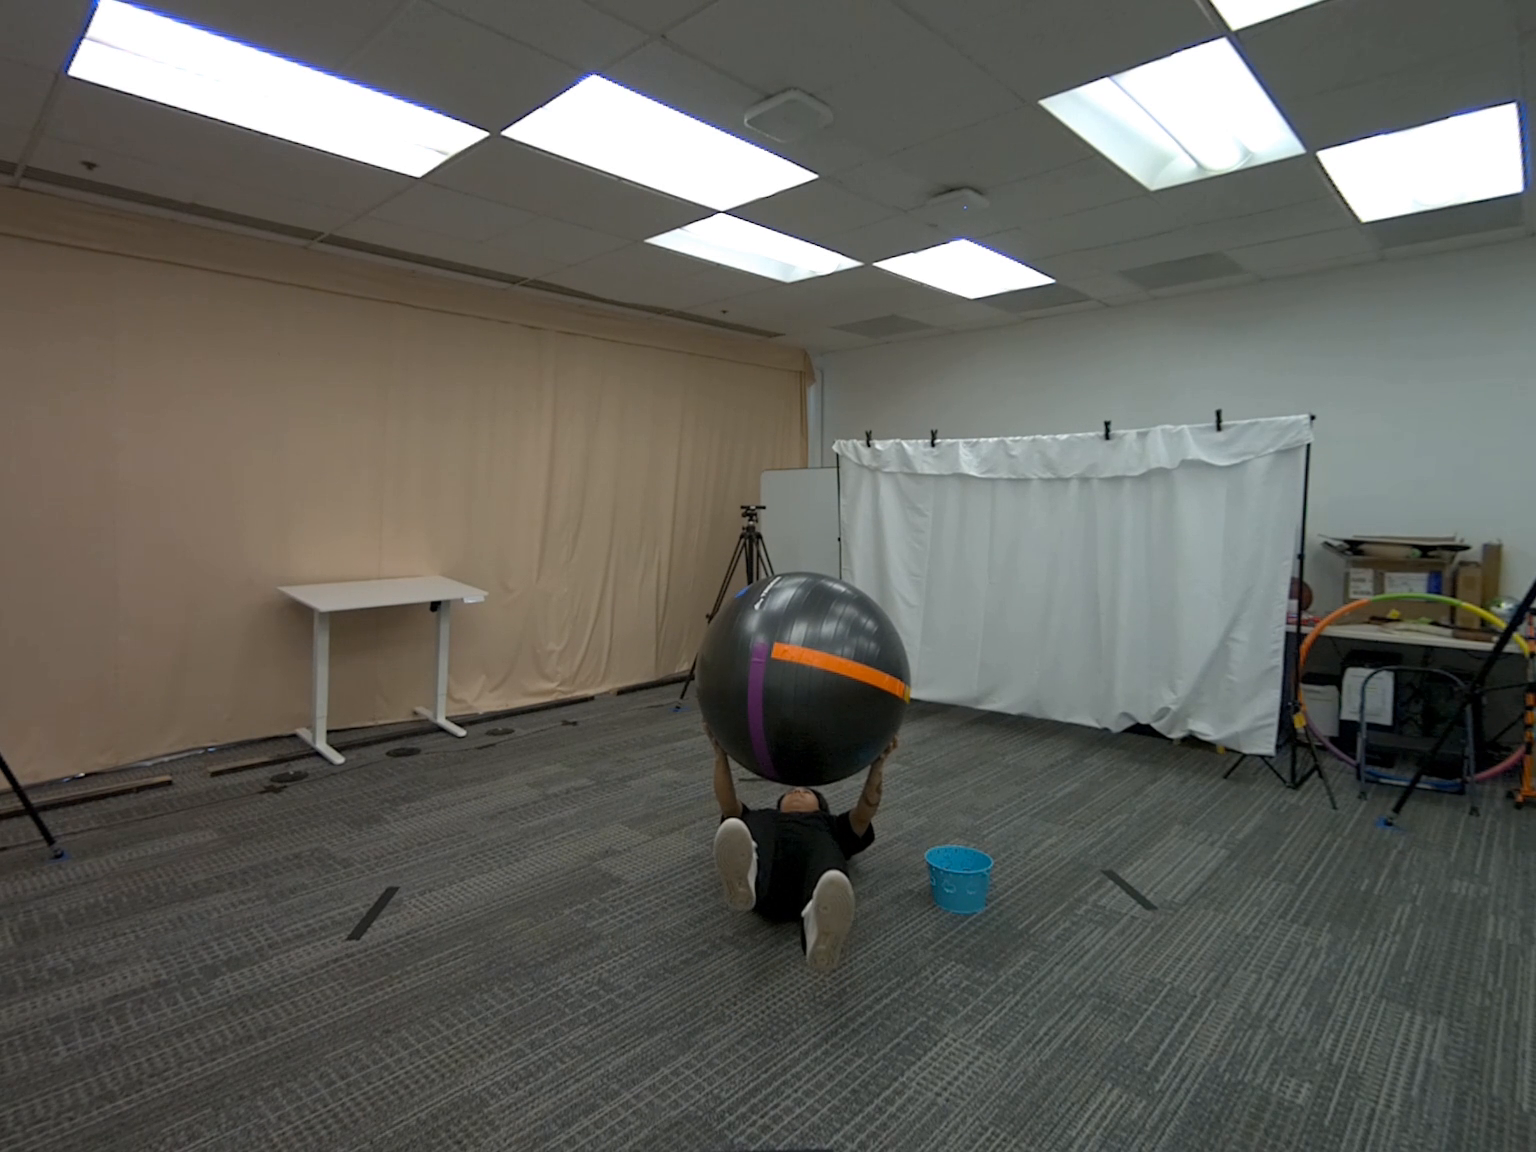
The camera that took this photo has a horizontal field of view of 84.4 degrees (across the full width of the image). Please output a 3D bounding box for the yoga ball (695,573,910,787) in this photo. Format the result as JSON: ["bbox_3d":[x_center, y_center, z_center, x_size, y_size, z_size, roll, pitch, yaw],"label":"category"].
[{"bbox_3d":[0.120,0.370,3.026,0.757,0.756,0.760,0,4,-2],"label":"yoga ball"}]
